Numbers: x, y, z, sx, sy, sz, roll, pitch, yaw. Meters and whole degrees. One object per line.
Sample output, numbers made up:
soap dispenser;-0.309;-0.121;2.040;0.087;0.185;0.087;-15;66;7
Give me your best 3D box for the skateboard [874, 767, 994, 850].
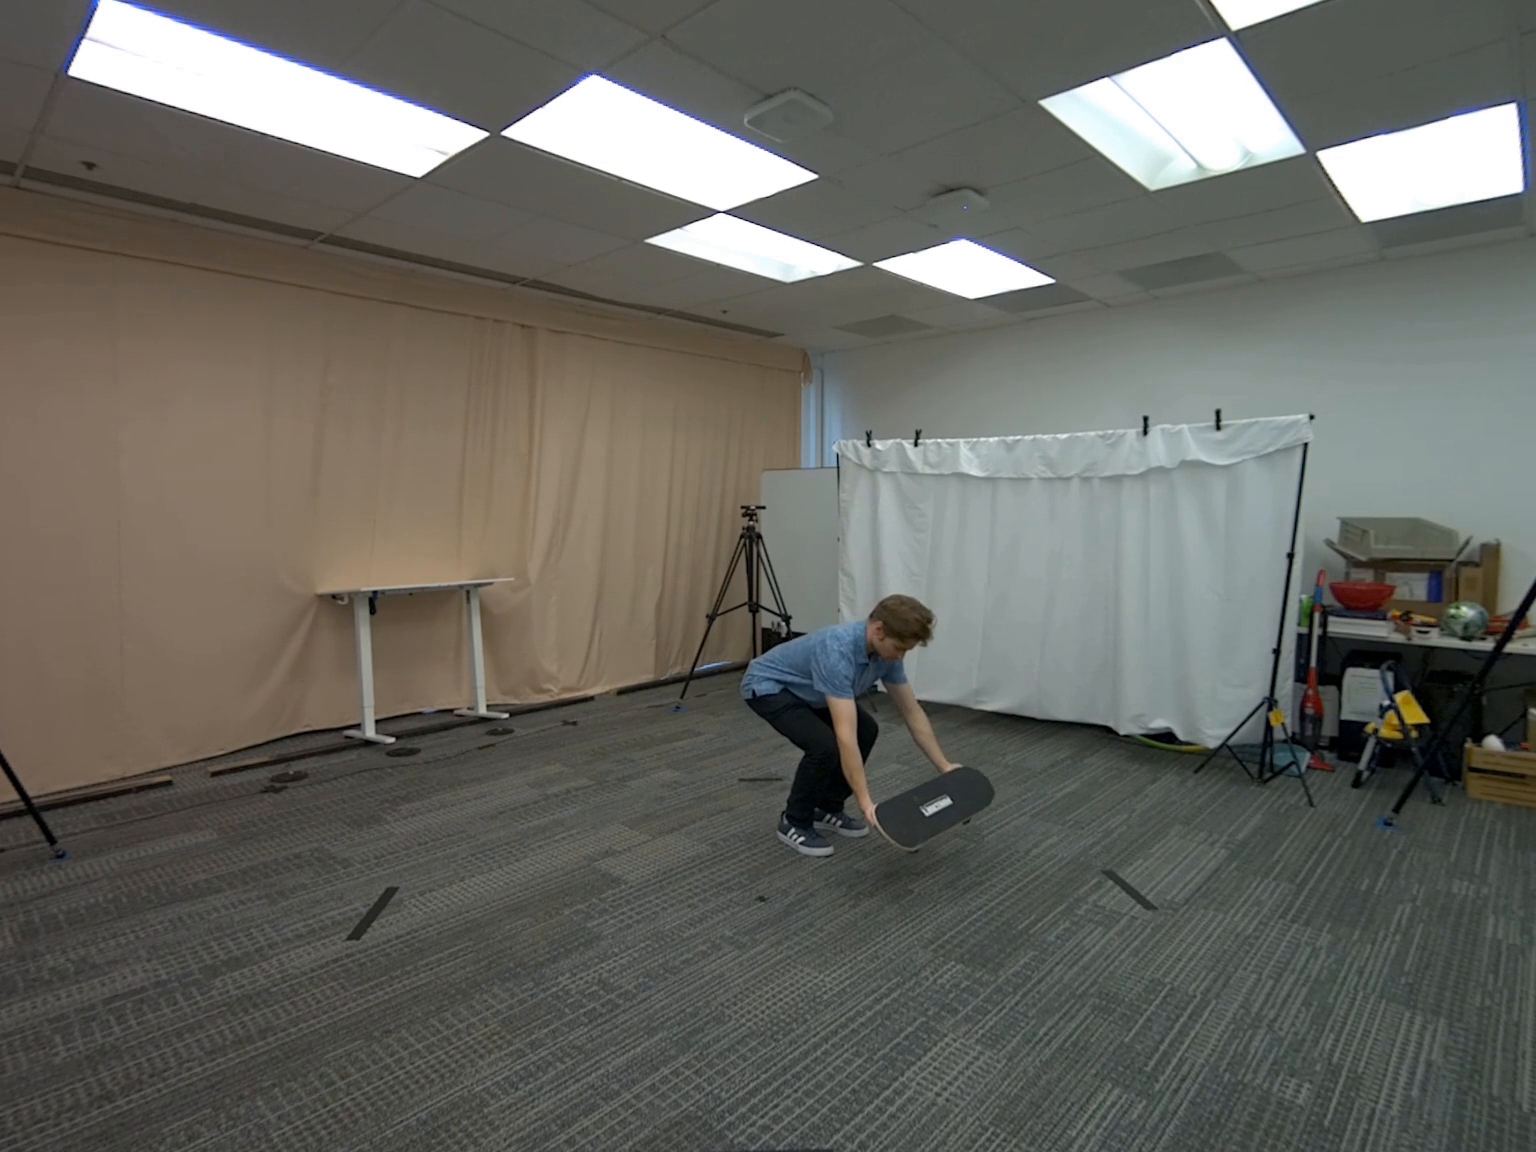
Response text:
skateboard;0.613;0.873;3.155;0.761;0.110;0.199;-5;45;-49
